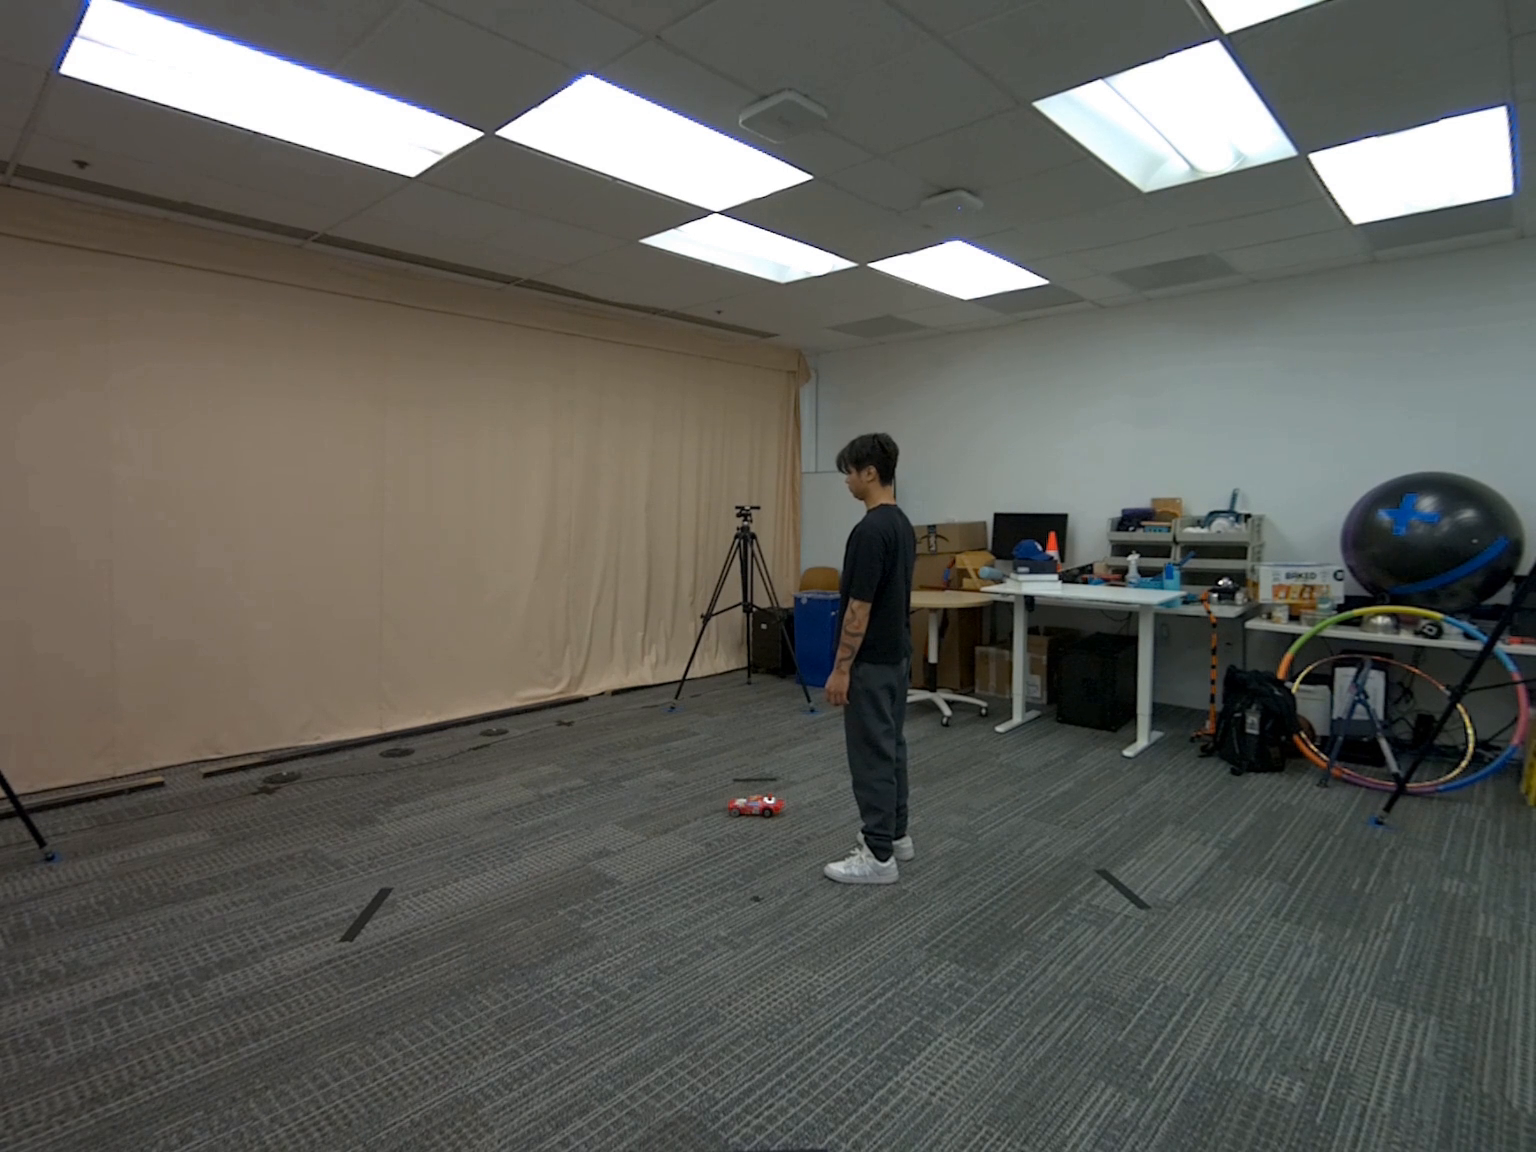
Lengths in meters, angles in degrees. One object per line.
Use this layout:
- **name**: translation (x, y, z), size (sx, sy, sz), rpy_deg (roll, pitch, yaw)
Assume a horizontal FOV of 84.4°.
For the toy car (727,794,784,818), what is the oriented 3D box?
- **toy car**: translation (-0.052, 1.044, 3.819), size (0.256, 0.083, 0.130), rpy_deg (-11, 4, 7)
